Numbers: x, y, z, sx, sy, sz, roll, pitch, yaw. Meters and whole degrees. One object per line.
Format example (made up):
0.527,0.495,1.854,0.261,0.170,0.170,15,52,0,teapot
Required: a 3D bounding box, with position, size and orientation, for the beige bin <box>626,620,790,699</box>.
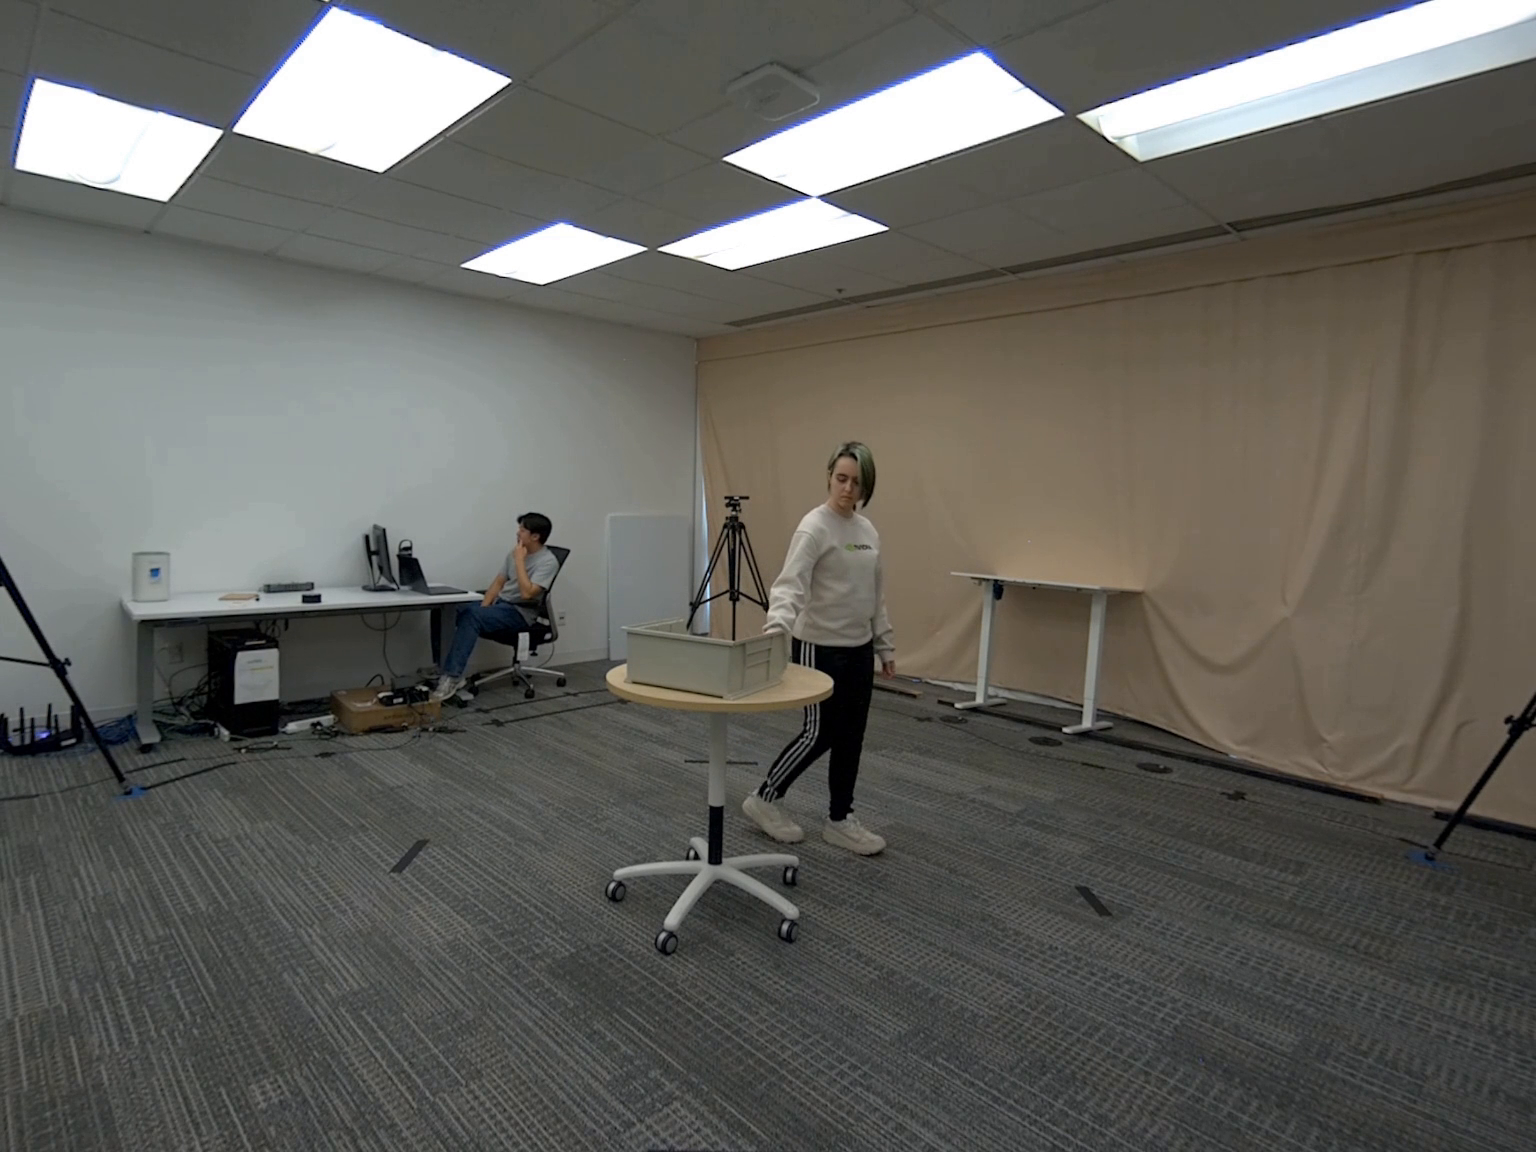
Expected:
-0.205,0.260,2.748,0.431,0.188,0.370,5,6,29,beige bin
